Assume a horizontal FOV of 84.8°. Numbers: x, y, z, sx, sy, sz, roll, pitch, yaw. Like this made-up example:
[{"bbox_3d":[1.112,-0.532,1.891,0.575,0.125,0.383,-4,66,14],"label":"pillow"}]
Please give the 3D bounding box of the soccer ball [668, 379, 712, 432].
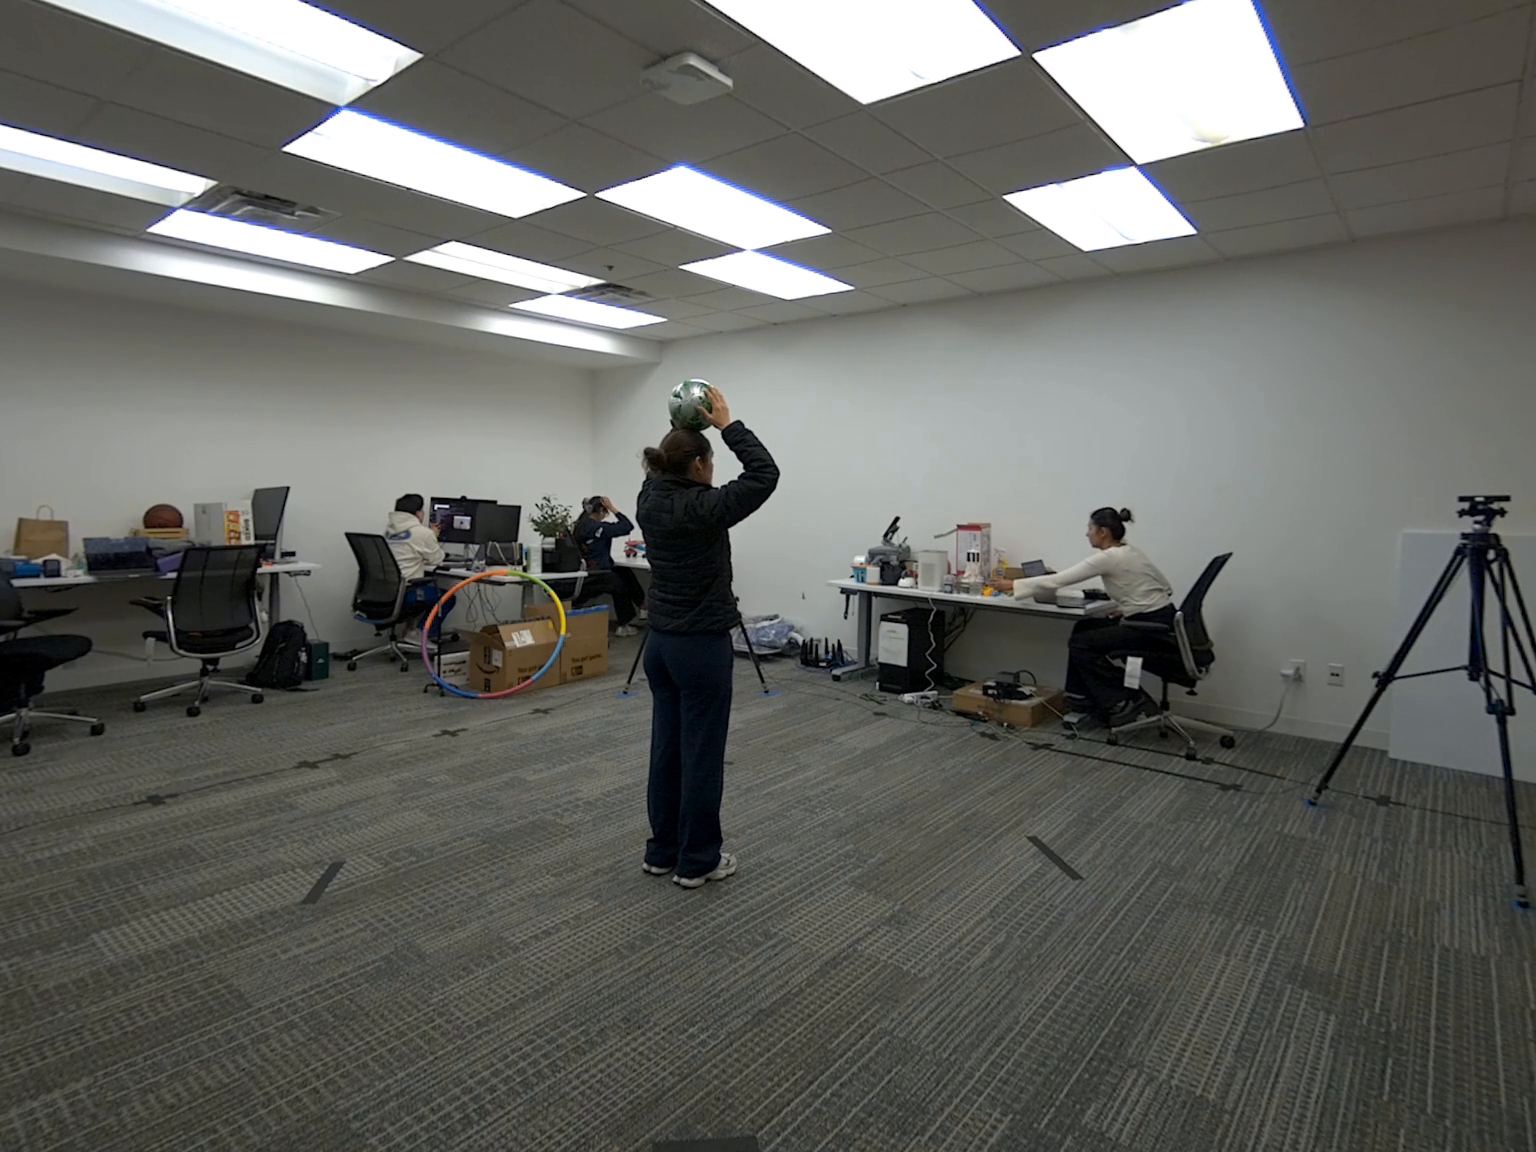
[{"bbox_3d":[-0.272,-0.610,3.045,0.187,0.187,0.188,1,4,-2],"label":"soccer ball"}]
